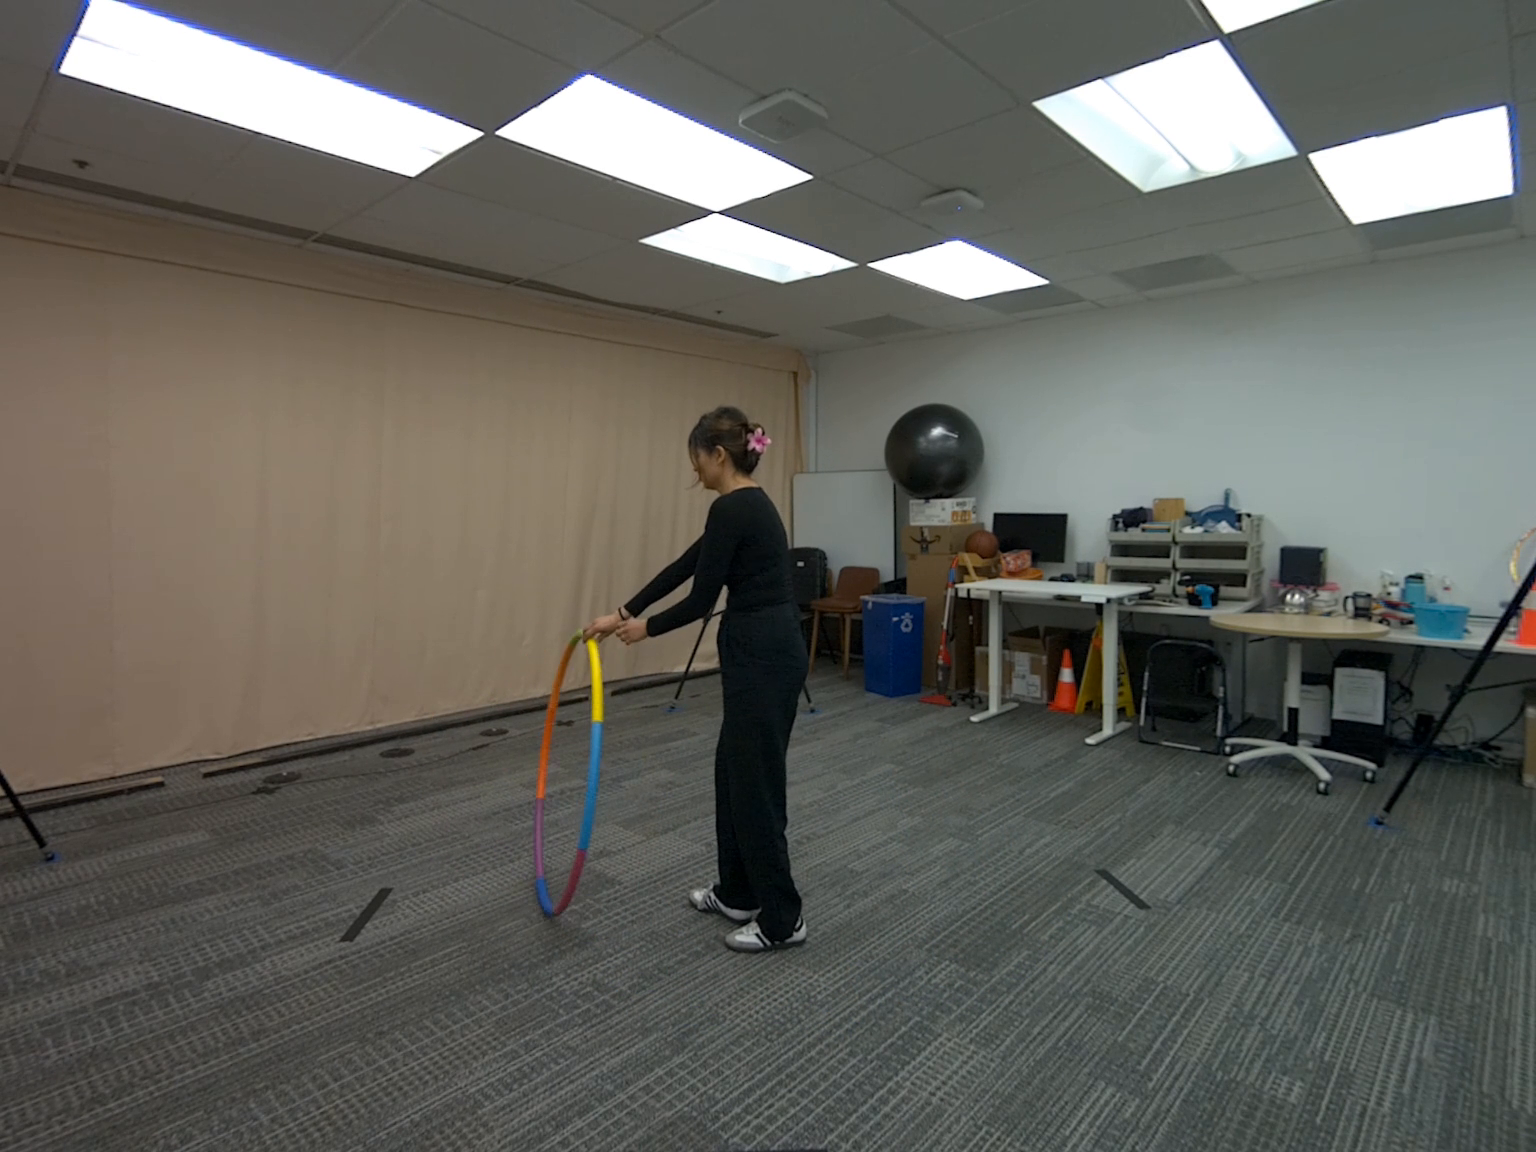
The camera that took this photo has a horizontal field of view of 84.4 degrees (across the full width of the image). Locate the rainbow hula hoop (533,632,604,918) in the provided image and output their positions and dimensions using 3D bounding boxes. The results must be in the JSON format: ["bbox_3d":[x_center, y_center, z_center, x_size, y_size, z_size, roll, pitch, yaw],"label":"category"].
[{"bbox_3d":[-0.717,0.675,2.980,0.035,0.979,1.000,10,0,-22],"label":"rainbow hula hoop"}]
